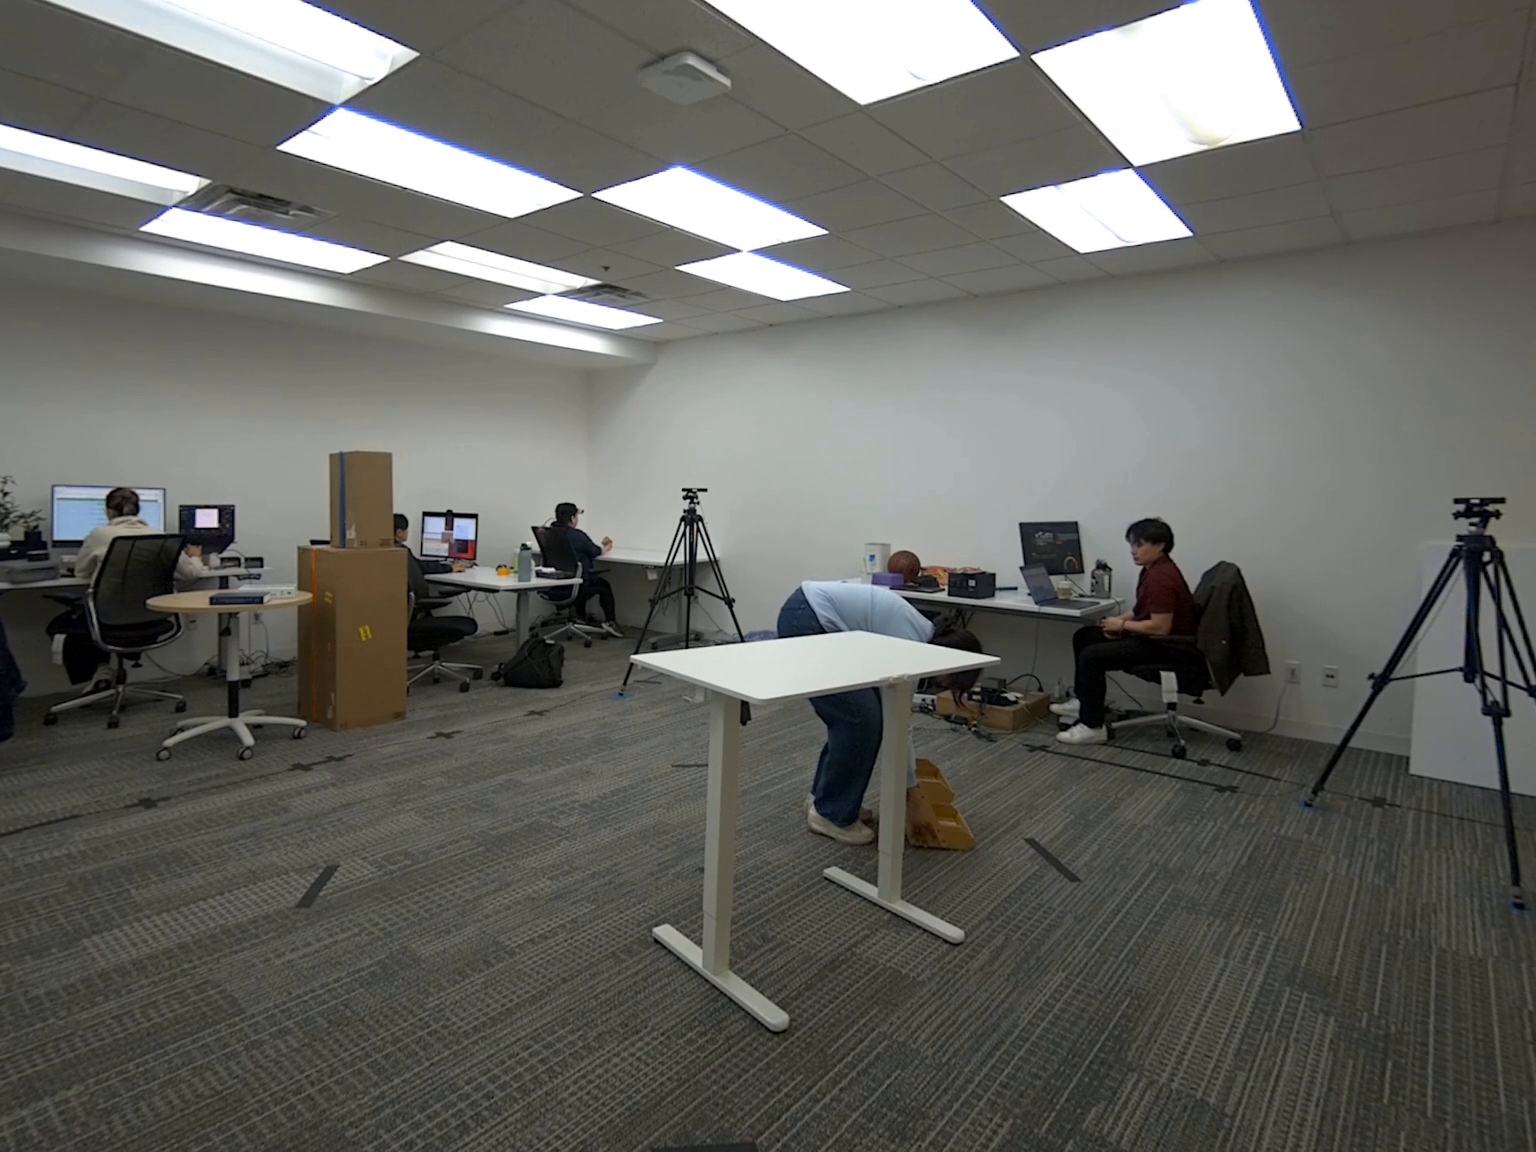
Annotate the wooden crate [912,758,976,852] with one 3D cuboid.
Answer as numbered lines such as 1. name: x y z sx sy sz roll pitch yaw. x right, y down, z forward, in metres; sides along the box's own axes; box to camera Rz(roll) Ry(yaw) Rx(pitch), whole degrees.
1. wooden crate: 0.667 0.912 3.477 0.303 0.273 0.324 5 4 3
